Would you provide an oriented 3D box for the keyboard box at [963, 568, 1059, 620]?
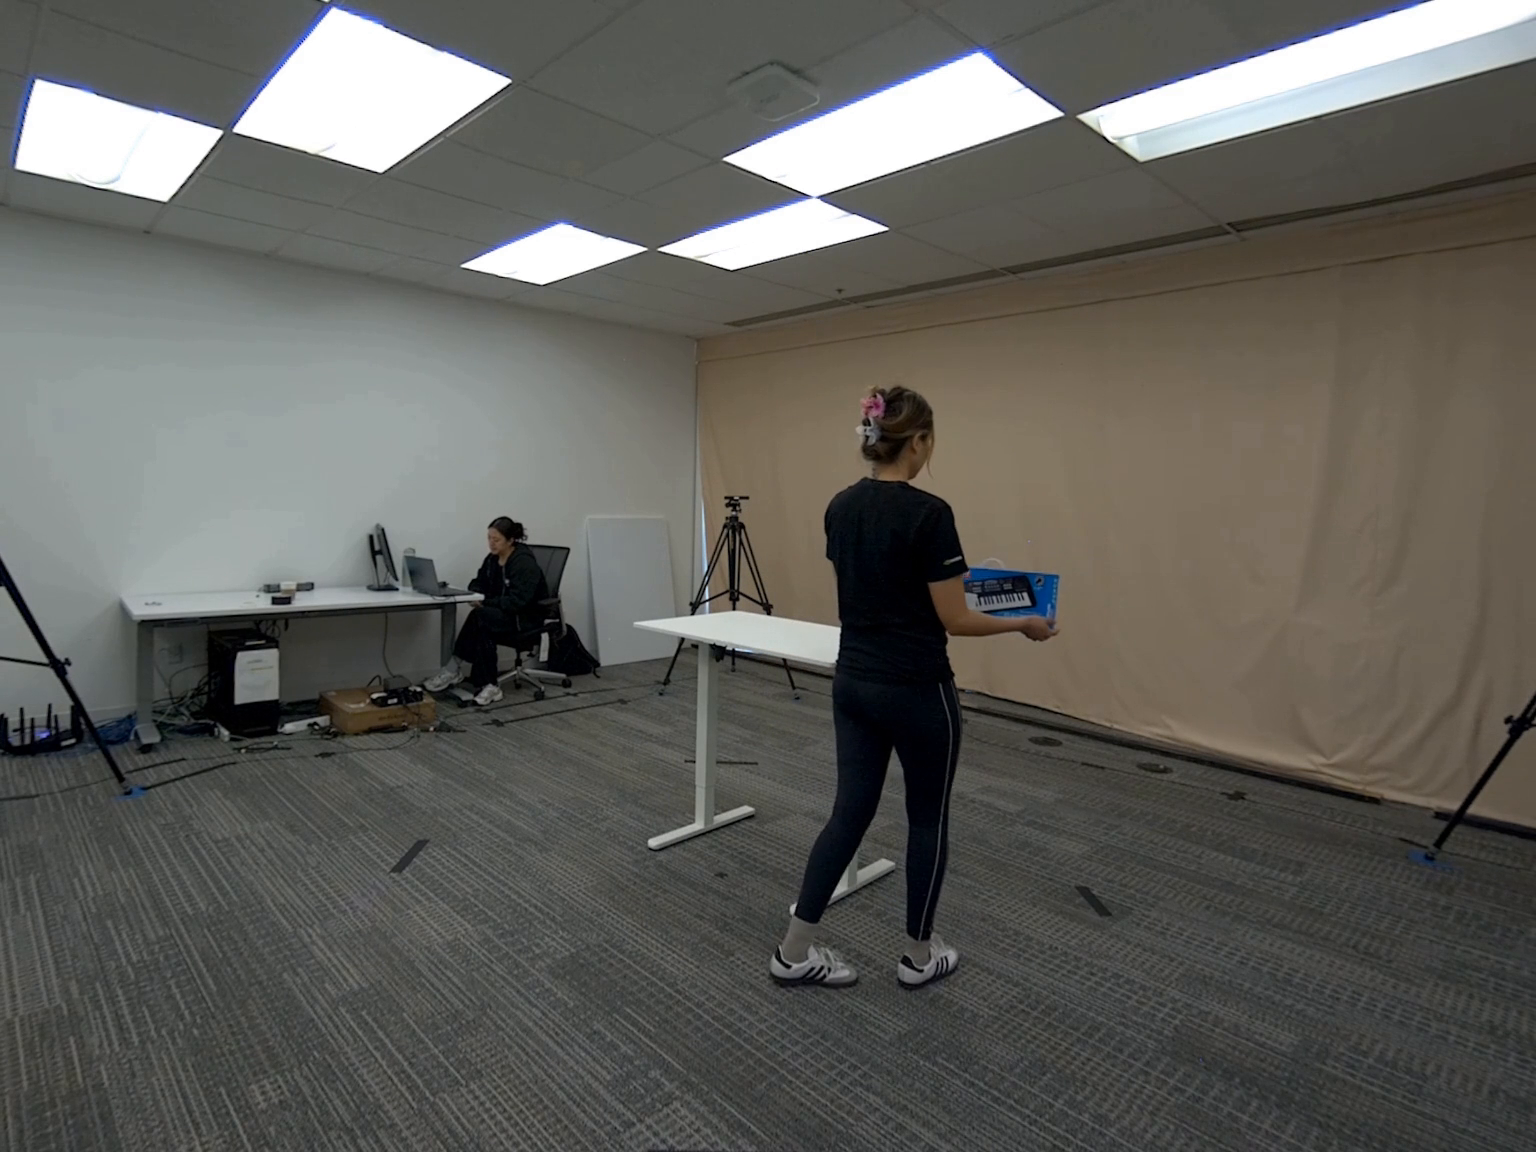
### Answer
[{"bbox_3d":[0.673,0.068,2.601,0.057,0.176,0.448,8,-1,-37],"label":"keyboard box"}]
